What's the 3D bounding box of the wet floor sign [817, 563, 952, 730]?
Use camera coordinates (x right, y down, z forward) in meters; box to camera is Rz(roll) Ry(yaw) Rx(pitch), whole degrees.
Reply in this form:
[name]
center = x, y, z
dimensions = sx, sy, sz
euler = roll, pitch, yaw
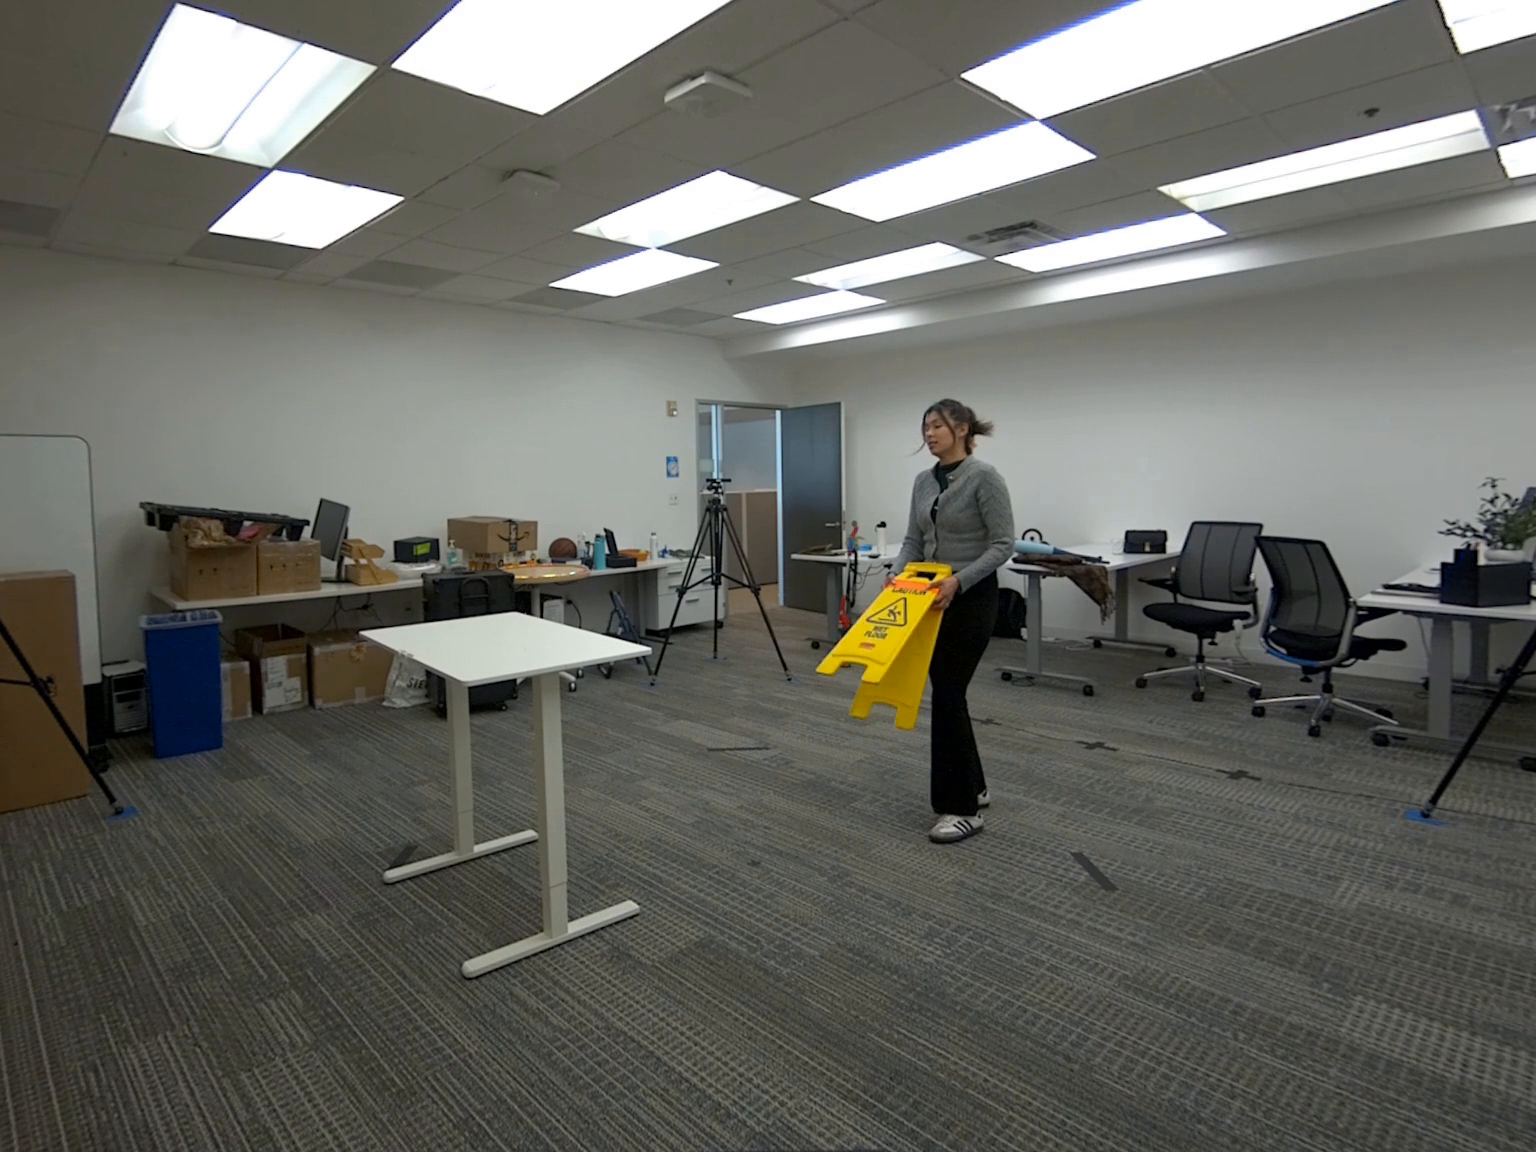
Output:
[wet floor sign]
center = 0.491, 0.209, 3.240
dimensions = 0.291, 0.650, 0.279
euler = 3, -38, 43
